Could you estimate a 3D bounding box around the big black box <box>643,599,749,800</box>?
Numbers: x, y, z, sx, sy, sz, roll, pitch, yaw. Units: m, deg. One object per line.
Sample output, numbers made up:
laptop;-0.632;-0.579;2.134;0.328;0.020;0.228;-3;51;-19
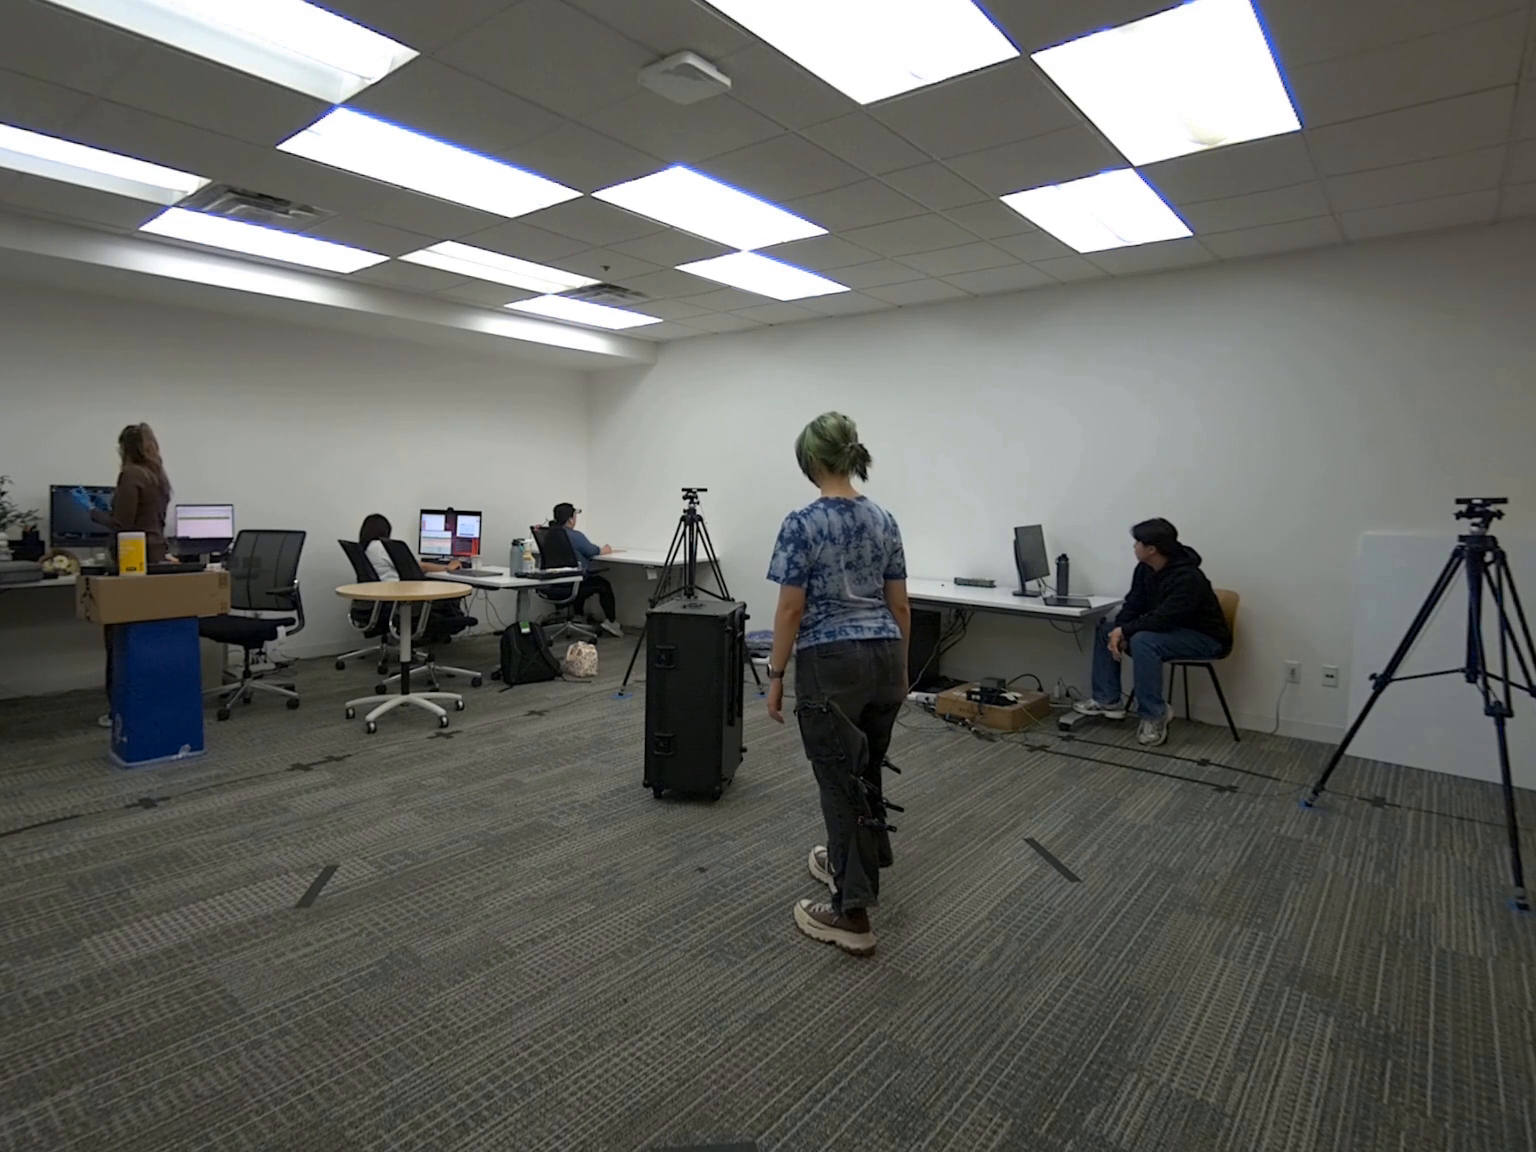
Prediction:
big black box;-0.328;0.560;3.940;0.402;0.859;0.515;2;3;11
